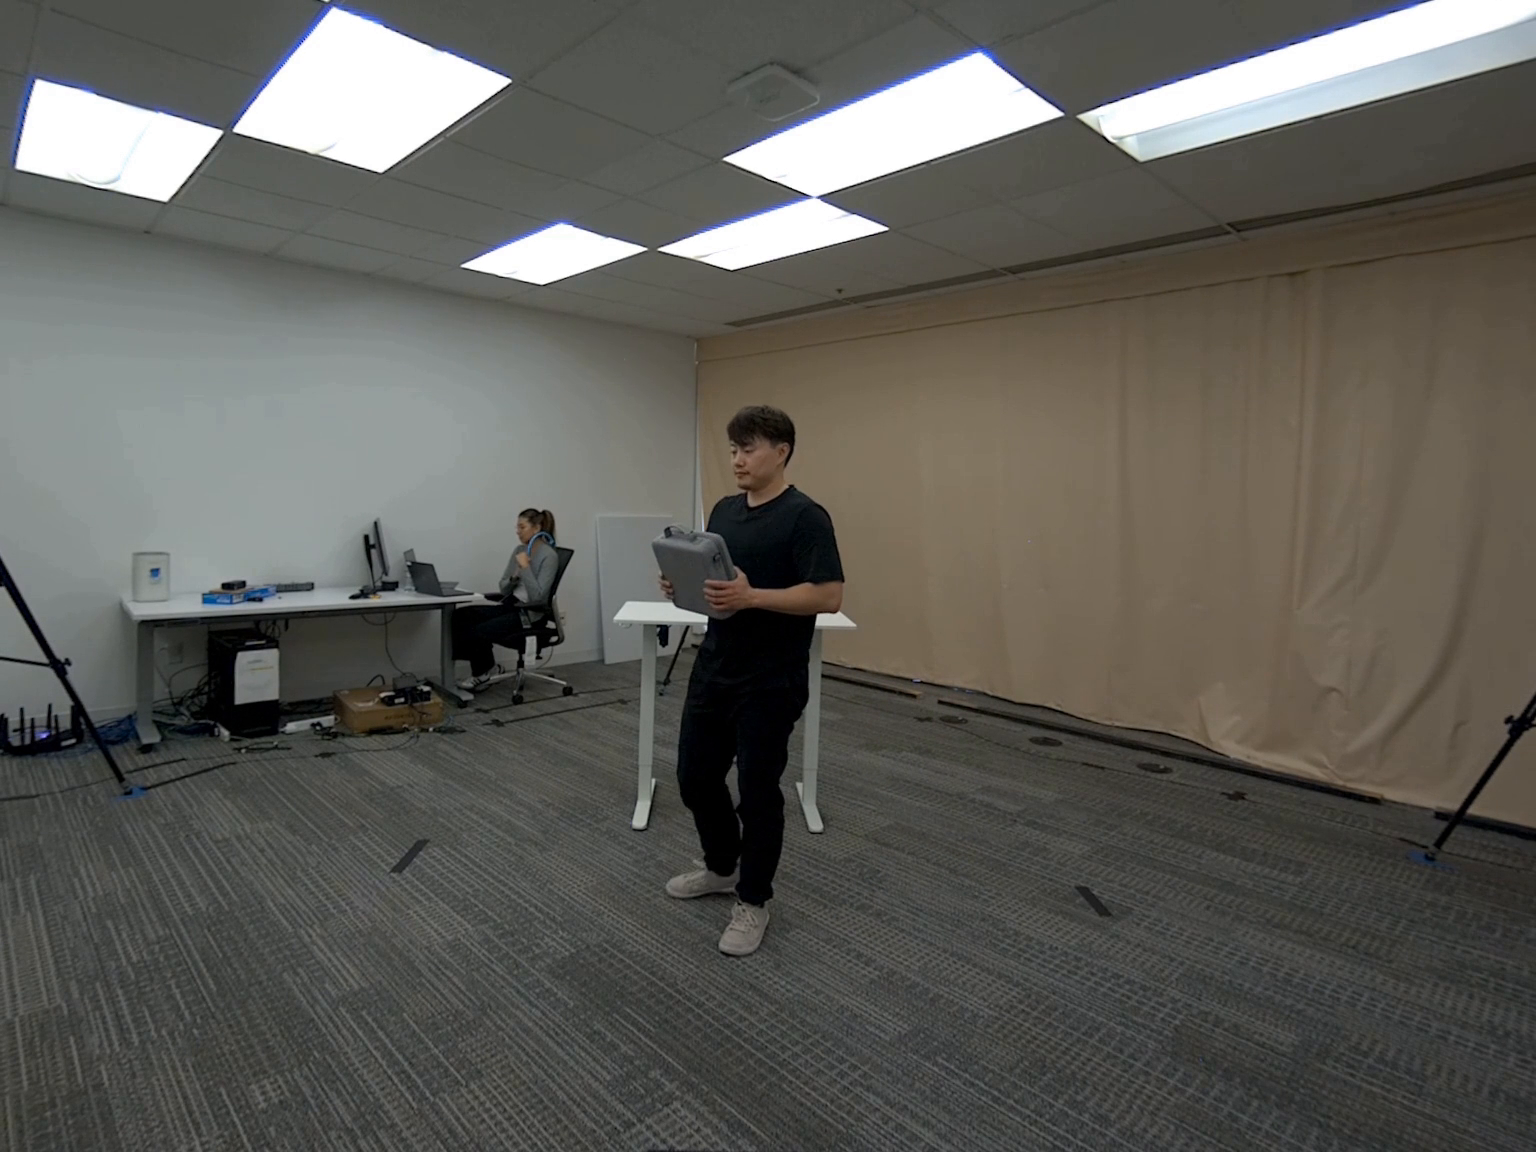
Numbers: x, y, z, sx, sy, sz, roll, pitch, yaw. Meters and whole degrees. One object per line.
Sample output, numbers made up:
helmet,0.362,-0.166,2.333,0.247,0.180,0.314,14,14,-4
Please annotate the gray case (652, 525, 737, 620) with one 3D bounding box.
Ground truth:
gray case,-0.218,-0.013,2.524,0.264,0.255,0.104,9,36,47
